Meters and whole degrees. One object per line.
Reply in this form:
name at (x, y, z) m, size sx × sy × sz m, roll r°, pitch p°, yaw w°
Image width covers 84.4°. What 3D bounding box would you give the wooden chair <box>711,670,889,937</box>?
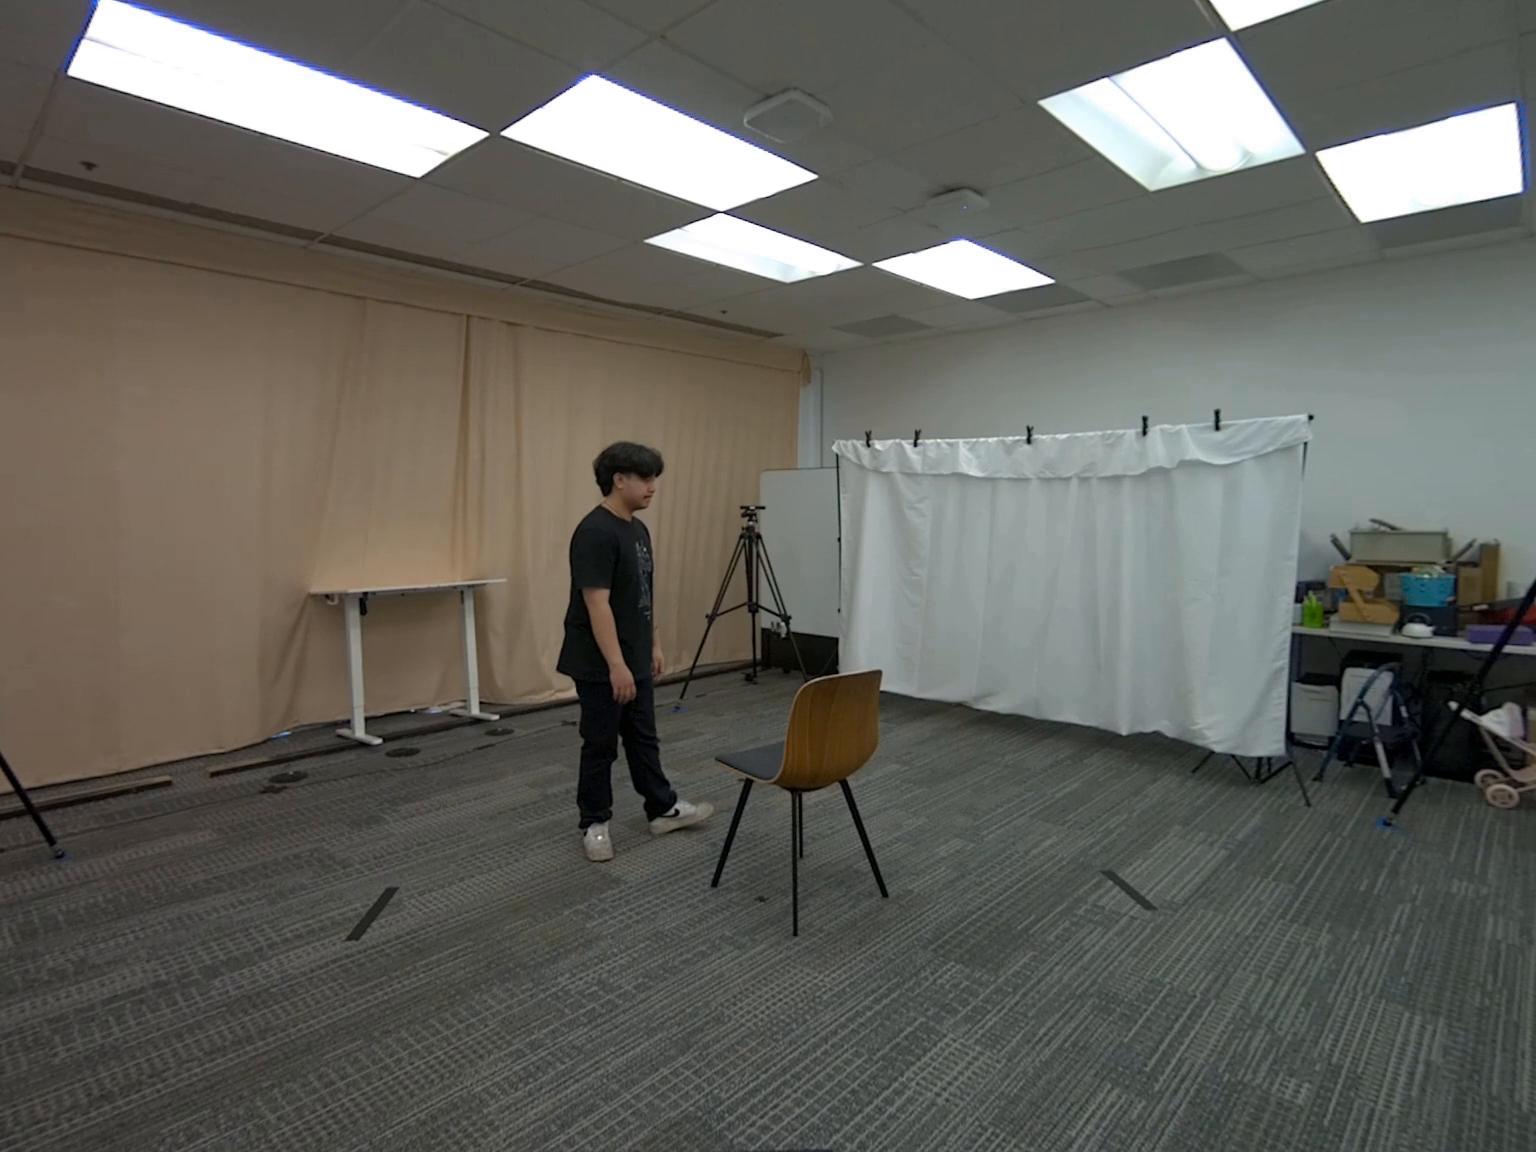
wooden chair at (0.106, 0.715, 3.009) m, size 0.464 × 0.874 × 0.541 m, roll -3°, pitch 9°, yaw -39°
